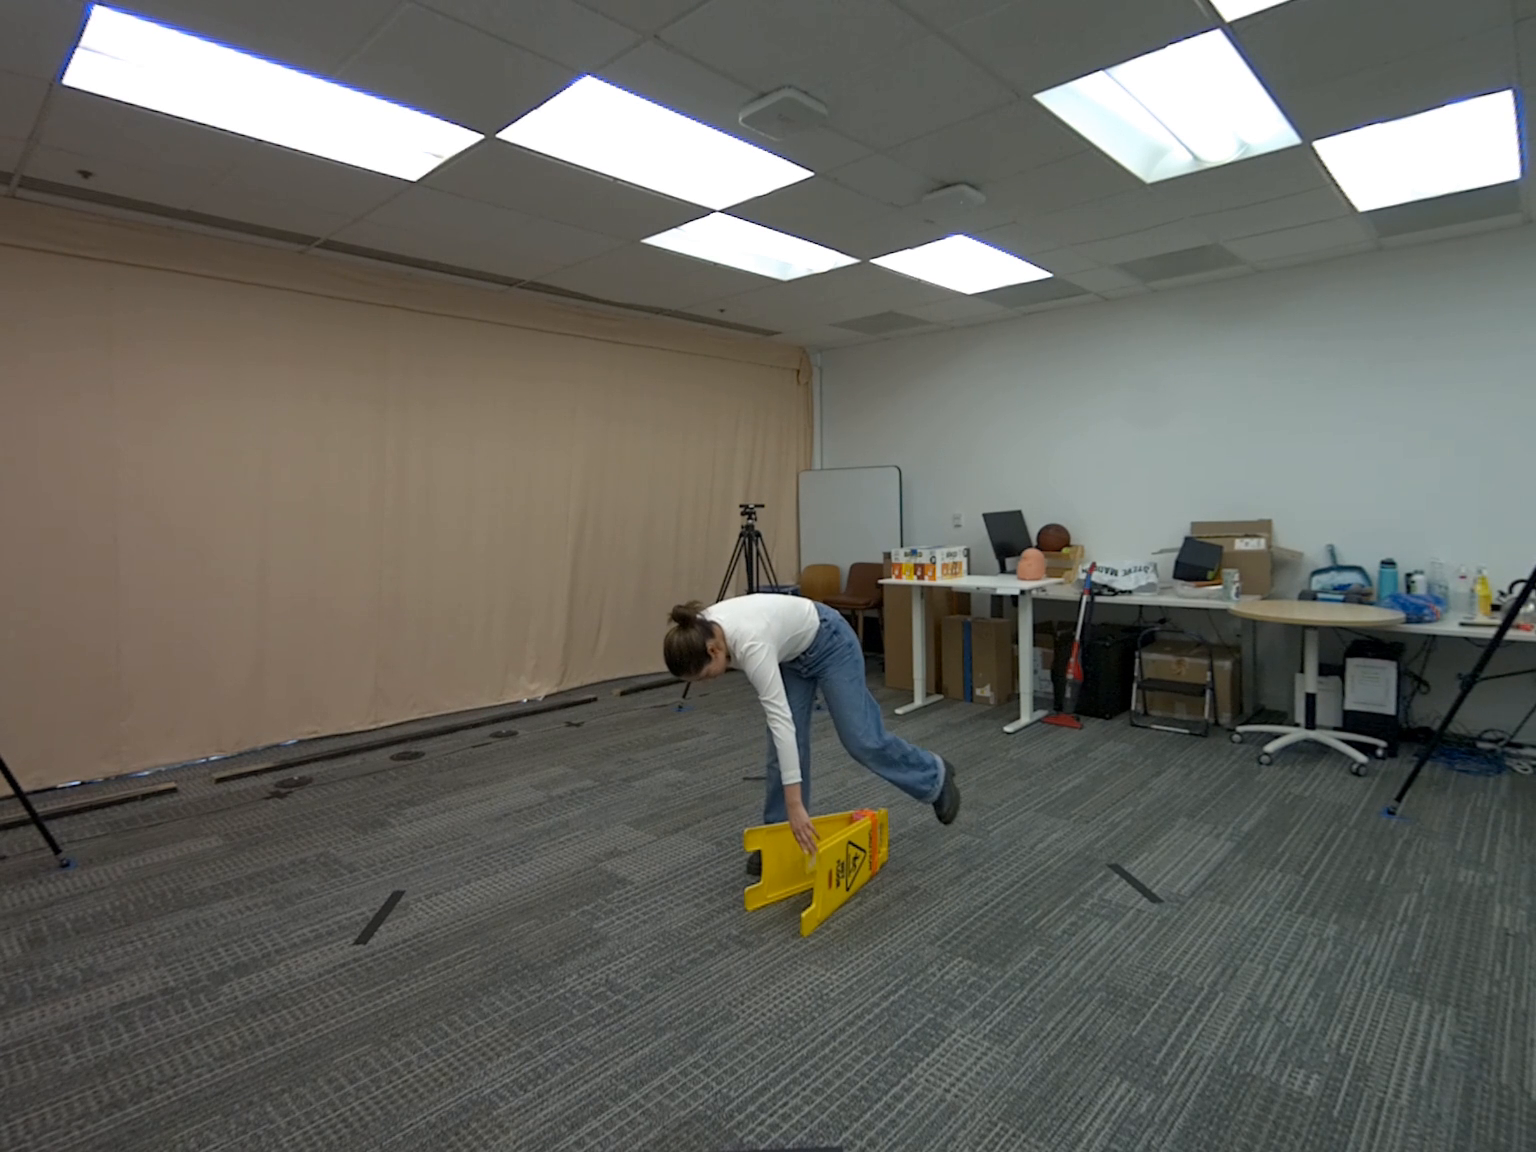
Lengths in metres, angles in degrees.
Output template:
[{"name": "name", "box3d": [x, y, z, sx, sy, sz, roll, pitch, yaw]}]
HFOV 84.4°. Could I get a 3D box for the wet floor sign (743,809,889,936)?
[{"name": "wet floor sign", "box3d": [0.237, 1.003, 3.013, 0.299, 0.281, 0.626, 5, 6, 45]}]
